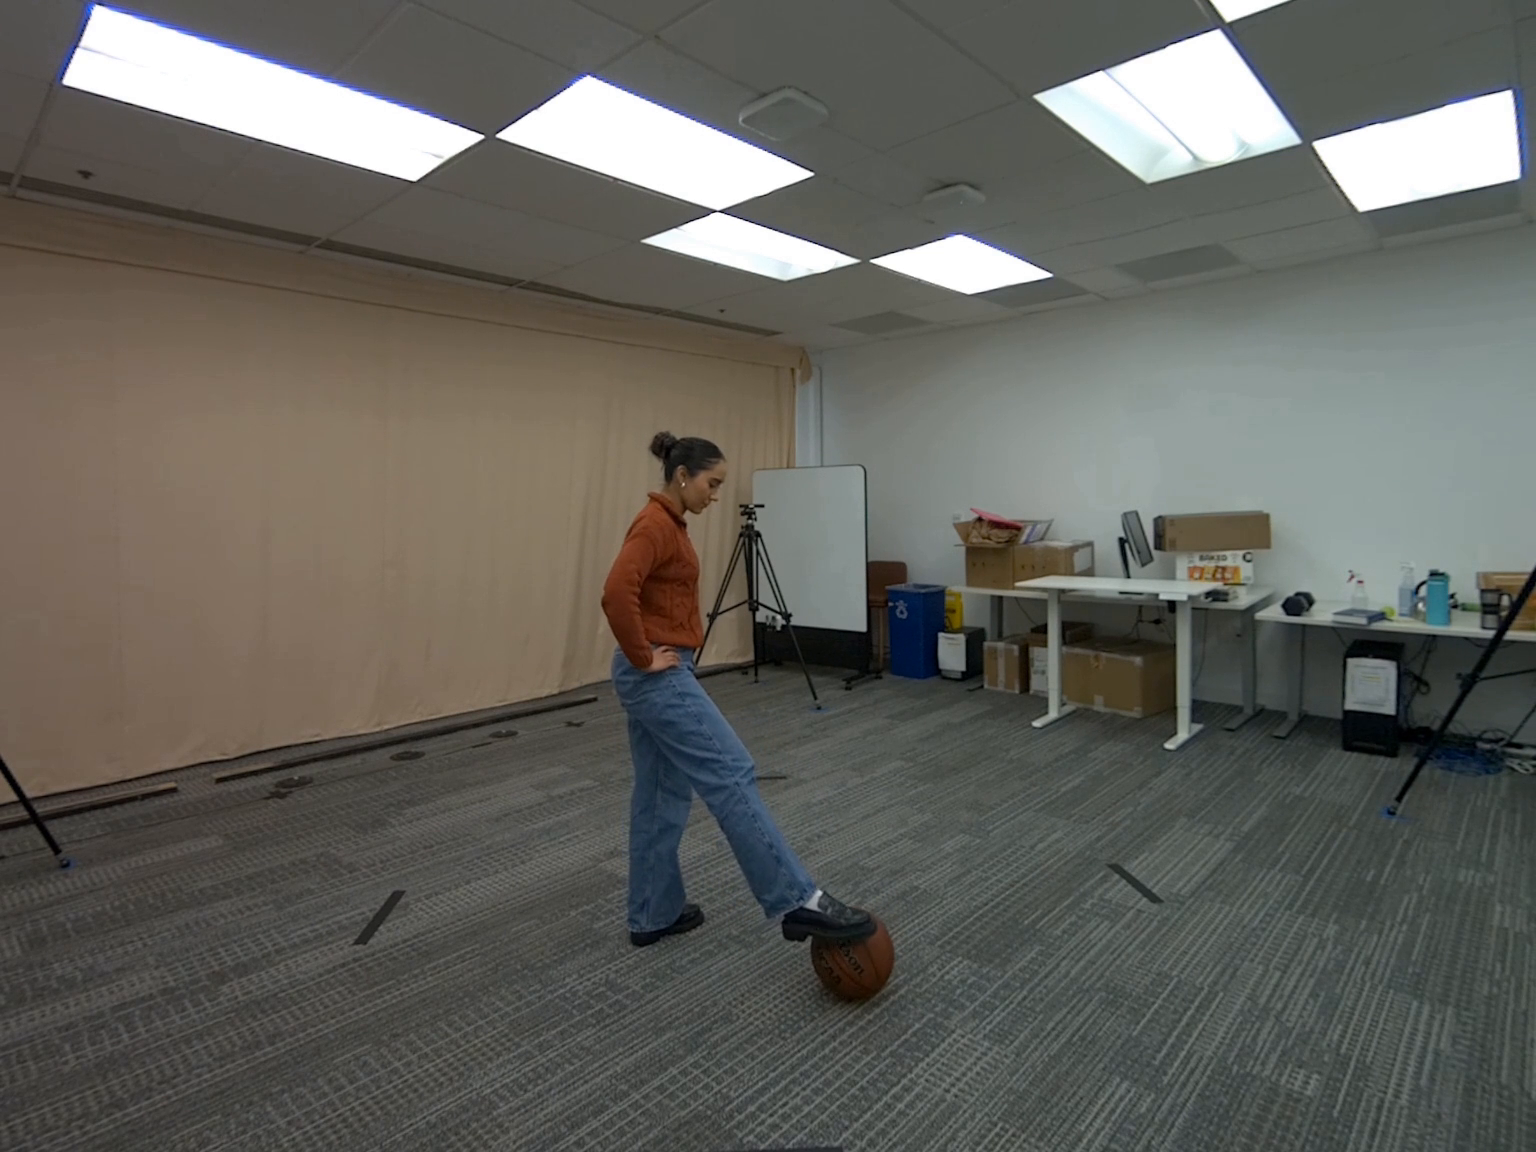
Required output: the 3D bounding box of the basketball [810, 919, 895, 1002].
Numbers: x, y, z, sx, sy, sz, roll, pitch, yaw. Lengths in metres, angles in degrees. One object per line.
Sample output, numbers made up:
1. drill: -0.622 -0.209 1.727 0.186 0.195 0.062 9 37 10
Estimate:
1. basketball: 0.245 1.068 2.395 0.236 0.235 0.237 -1 4 -2
